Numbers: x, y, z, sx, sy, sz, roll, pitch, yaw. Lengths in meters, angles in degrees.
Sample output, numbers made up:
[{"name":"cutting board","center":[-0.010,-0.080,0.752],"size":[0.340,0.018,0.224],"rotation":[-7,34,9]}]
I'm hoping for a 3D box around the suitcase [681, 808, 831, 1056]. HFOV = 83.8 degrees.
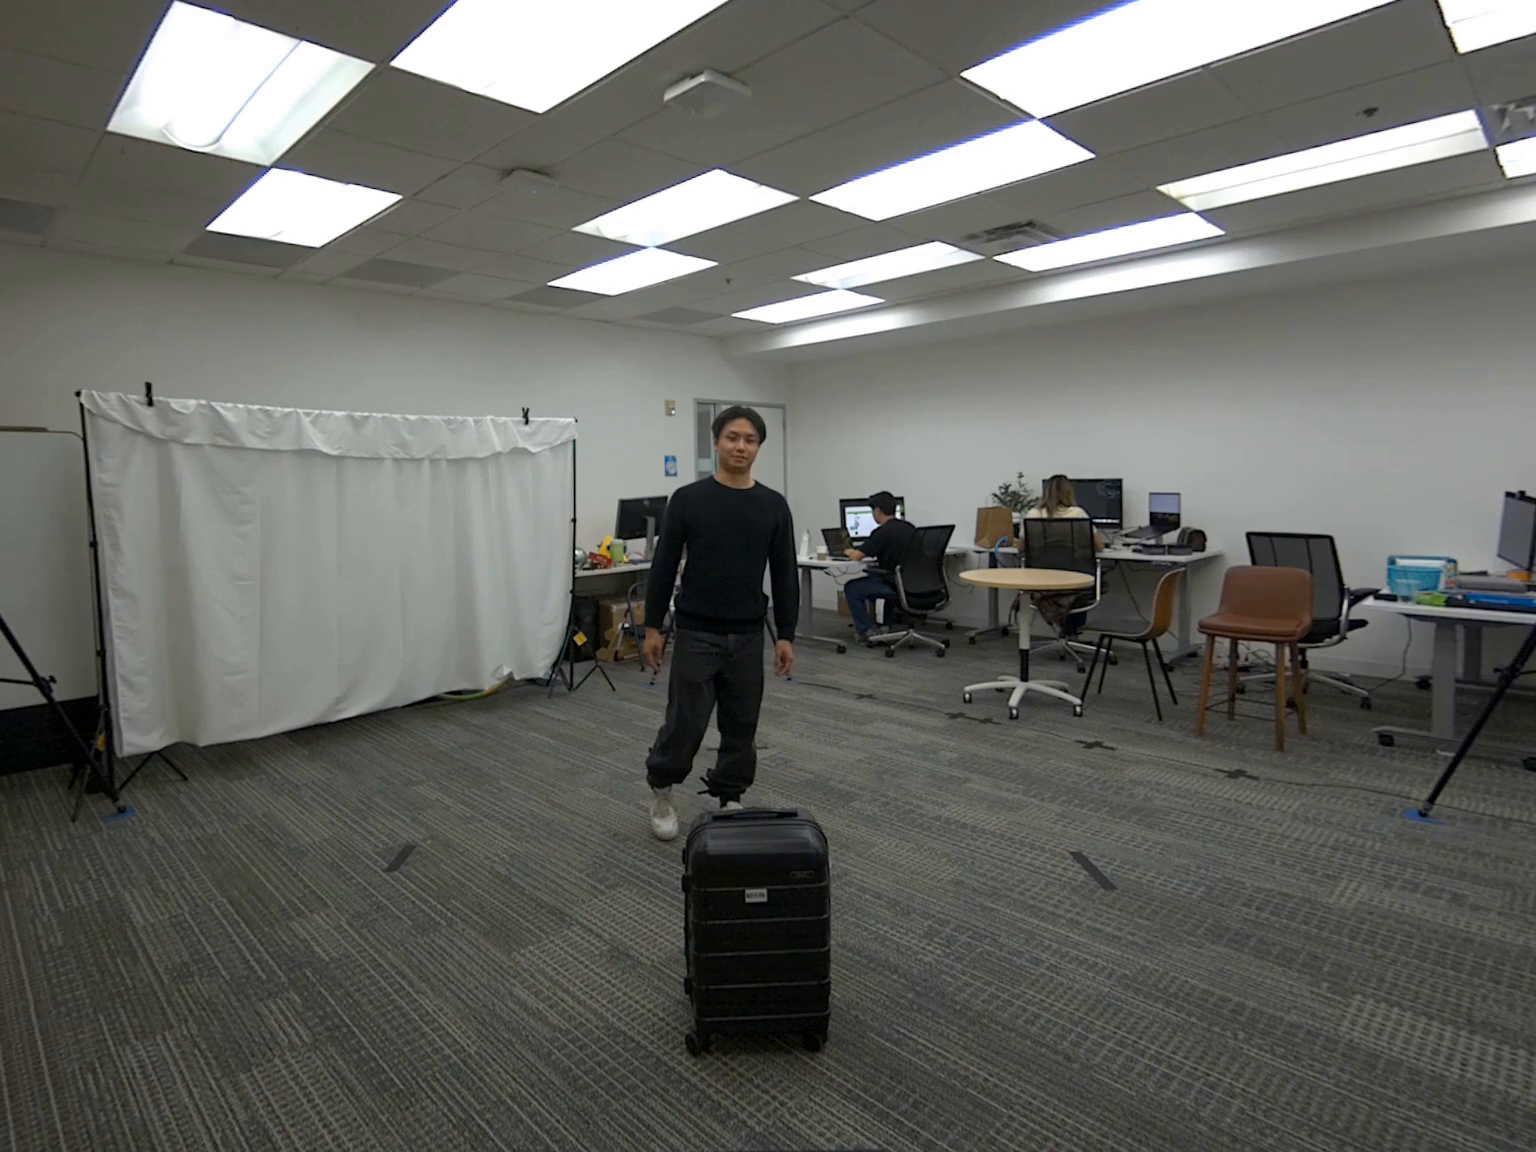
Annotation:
[{"name":"suitcase","center":[-0.021,0.877,2.171],"size":[0.374,0.547,0.250],"rotation":[-1,5,-3]}]
